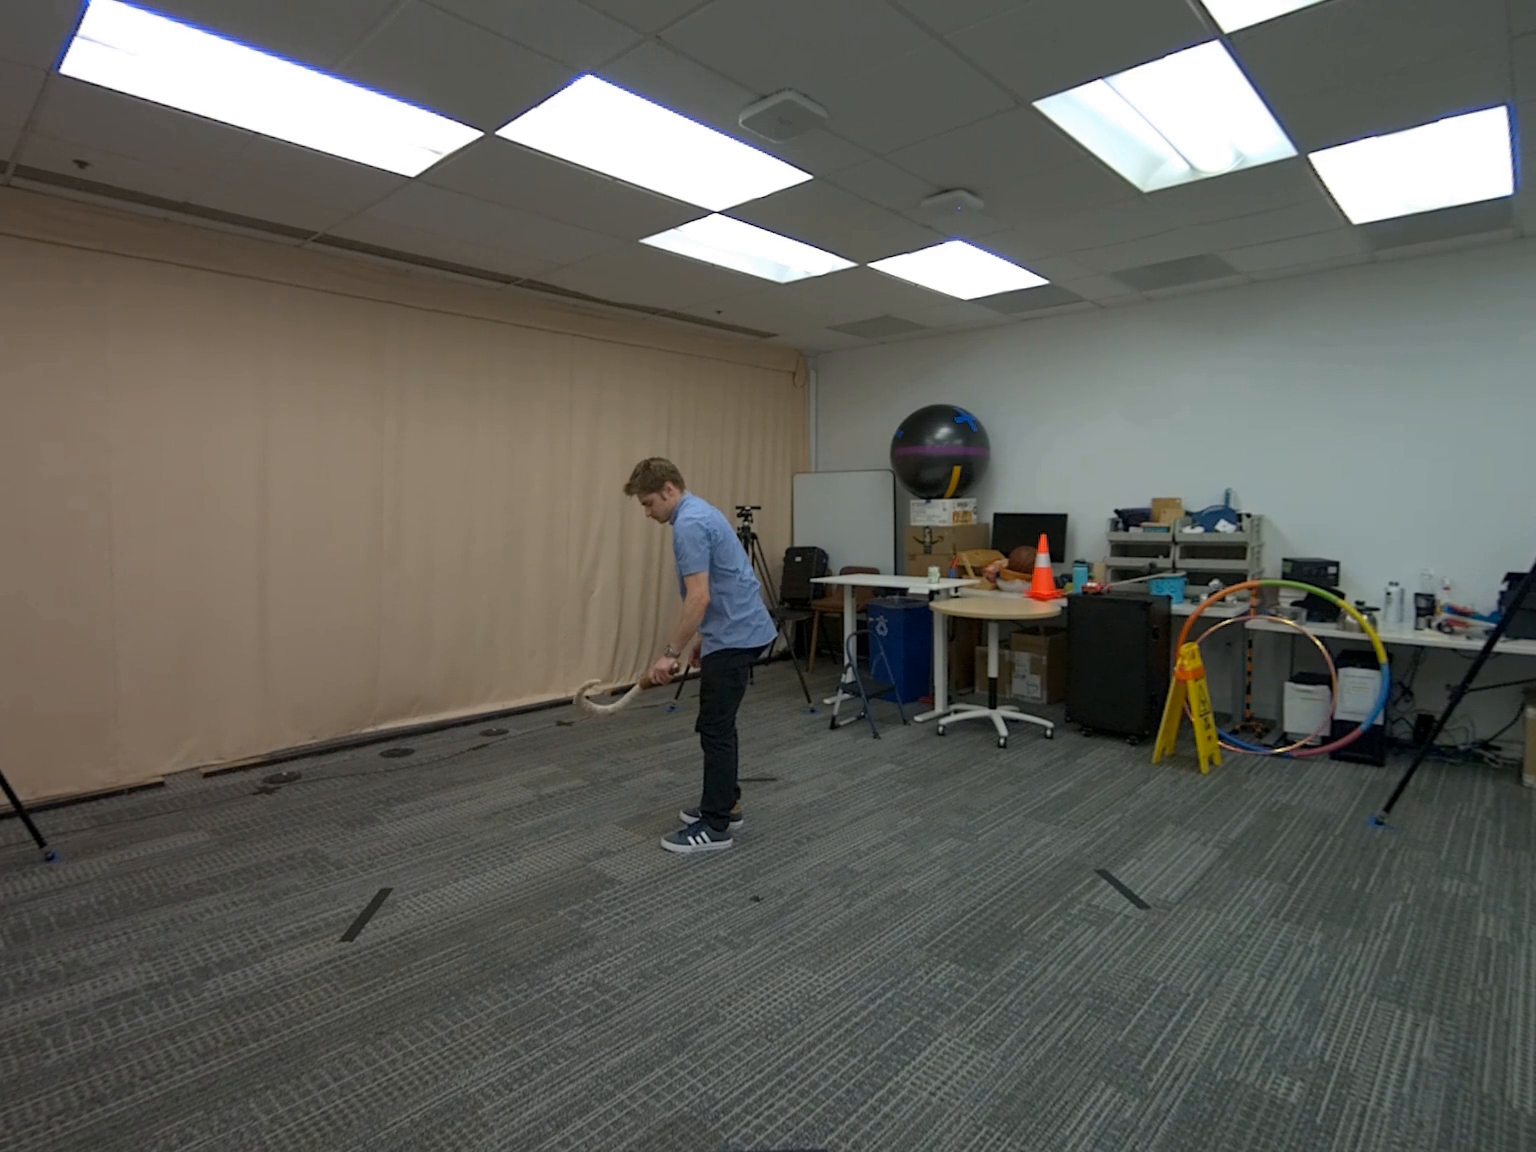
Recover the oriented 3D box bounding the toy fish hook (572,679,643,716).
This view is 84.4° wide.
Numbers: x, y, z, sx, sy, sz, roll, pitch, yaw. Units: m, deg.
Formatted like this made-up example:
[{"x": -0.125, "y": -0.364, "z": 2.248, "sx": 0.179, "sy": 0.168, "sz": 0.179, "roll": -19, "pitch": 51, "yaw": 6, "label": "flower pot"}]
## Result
[{"x": -0.576, "y": 0.455, "z": 3.448, "sx": 0.513, "sy": 0.217, "sz": 0.049, "roll": -30, "pitch": 34, "yaw": 23, "label": "toy fish hook"}]
